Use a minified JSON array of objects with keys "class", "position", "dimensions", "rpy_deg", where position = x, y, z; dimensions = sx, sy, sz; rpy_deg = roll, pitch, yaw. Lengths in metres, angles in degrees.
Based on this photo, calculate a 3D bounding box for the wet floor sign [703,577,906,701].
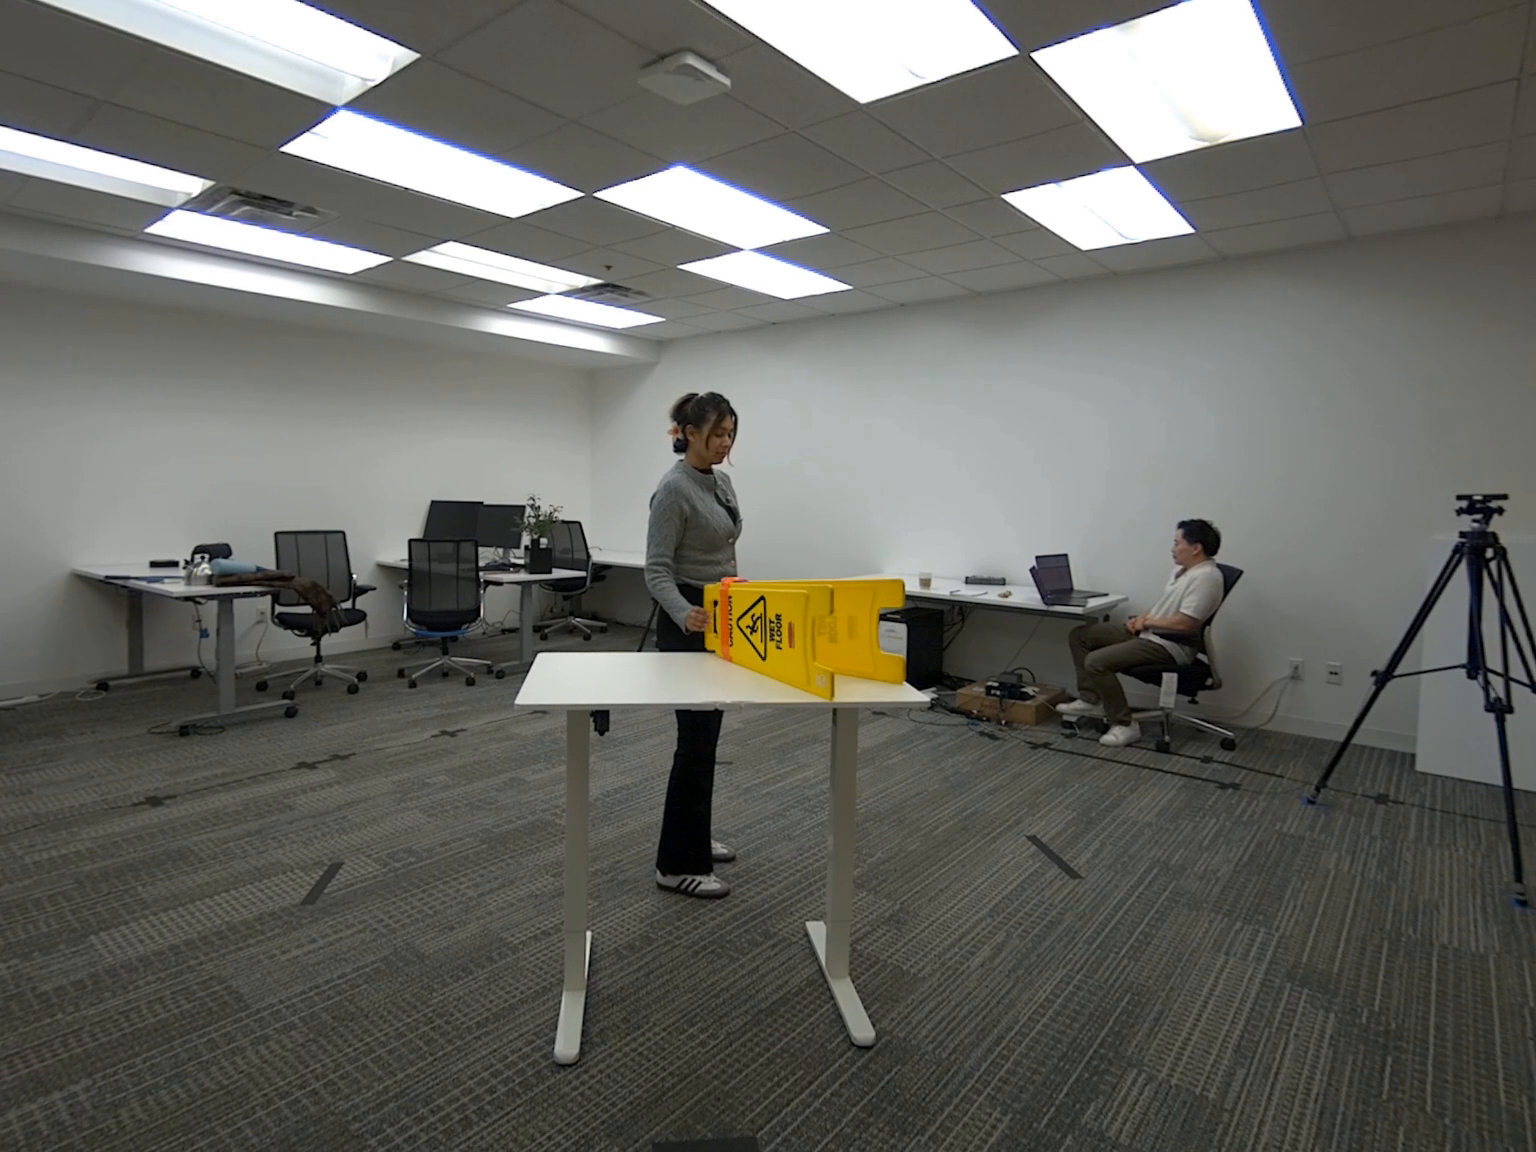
[{"class":"wet floor sign","position":[0.028,0.139,2.390],"dimensions":[0.281,0.281,0.667],"rpy_deg":[-4,5,-43]}]
